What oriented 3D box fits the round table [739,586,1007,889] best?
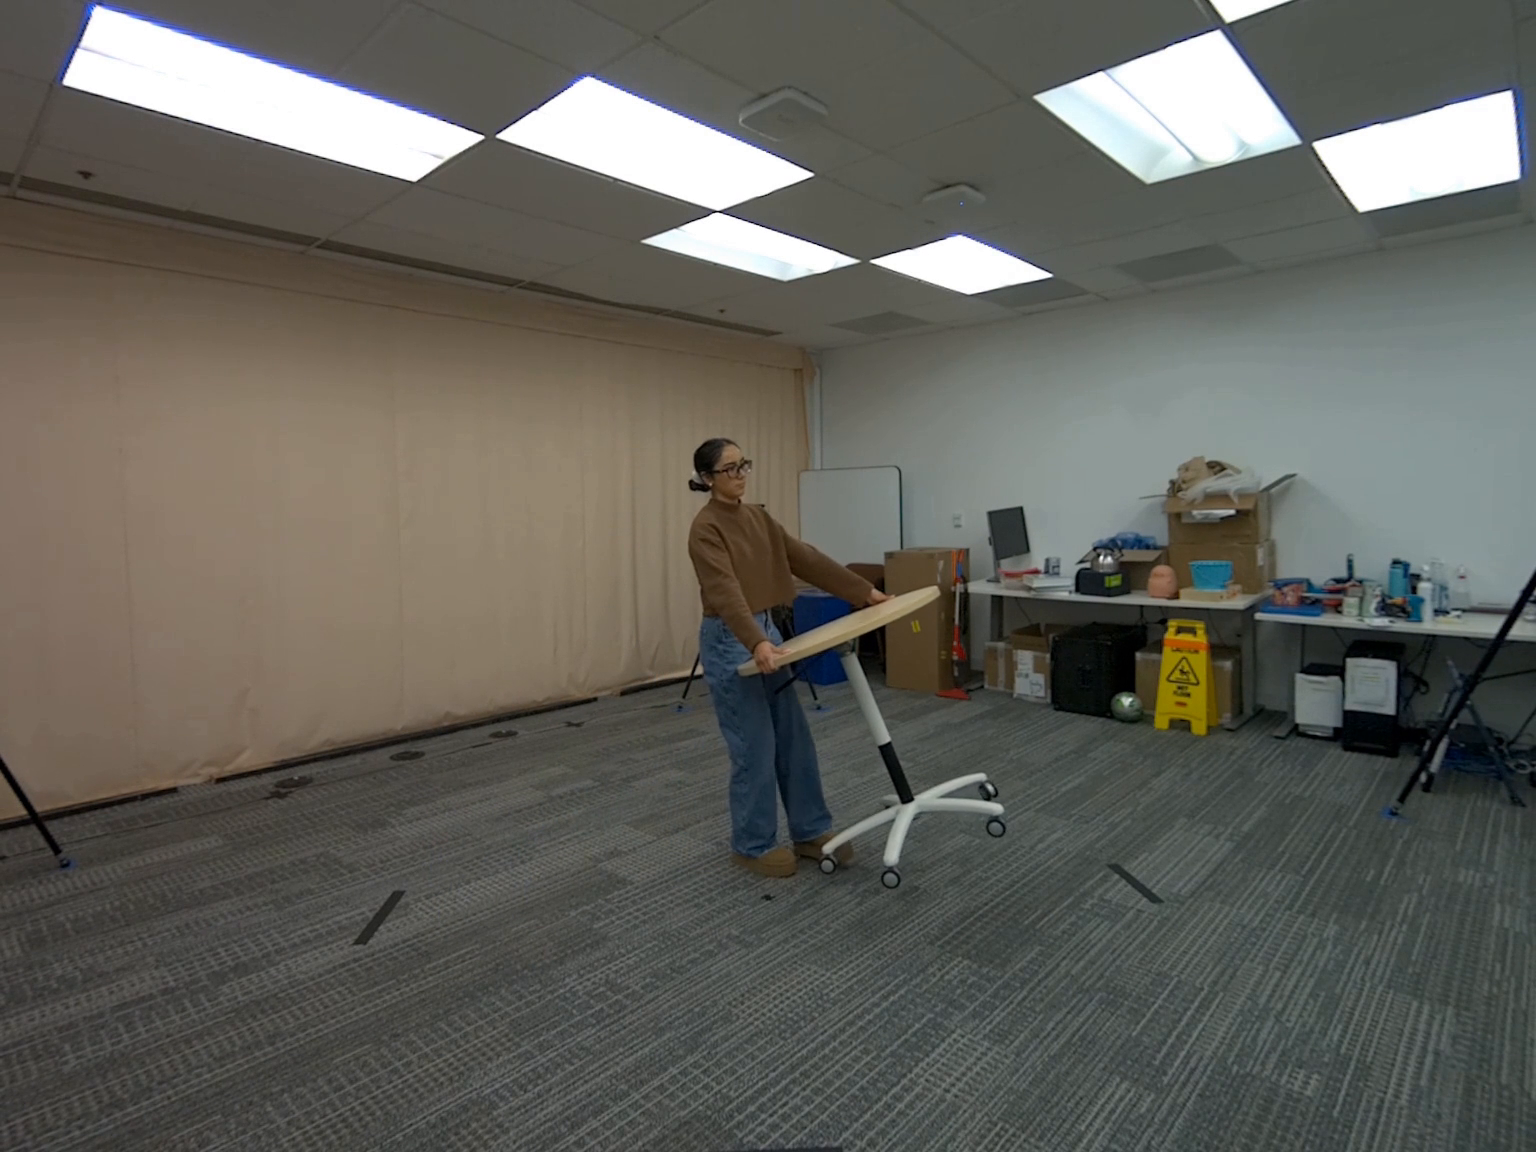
[{"bbox_3d":[0.415,0.552,2.981,0.784,0.789,0.784,-23,-2,-3],"label":"round table"}]
